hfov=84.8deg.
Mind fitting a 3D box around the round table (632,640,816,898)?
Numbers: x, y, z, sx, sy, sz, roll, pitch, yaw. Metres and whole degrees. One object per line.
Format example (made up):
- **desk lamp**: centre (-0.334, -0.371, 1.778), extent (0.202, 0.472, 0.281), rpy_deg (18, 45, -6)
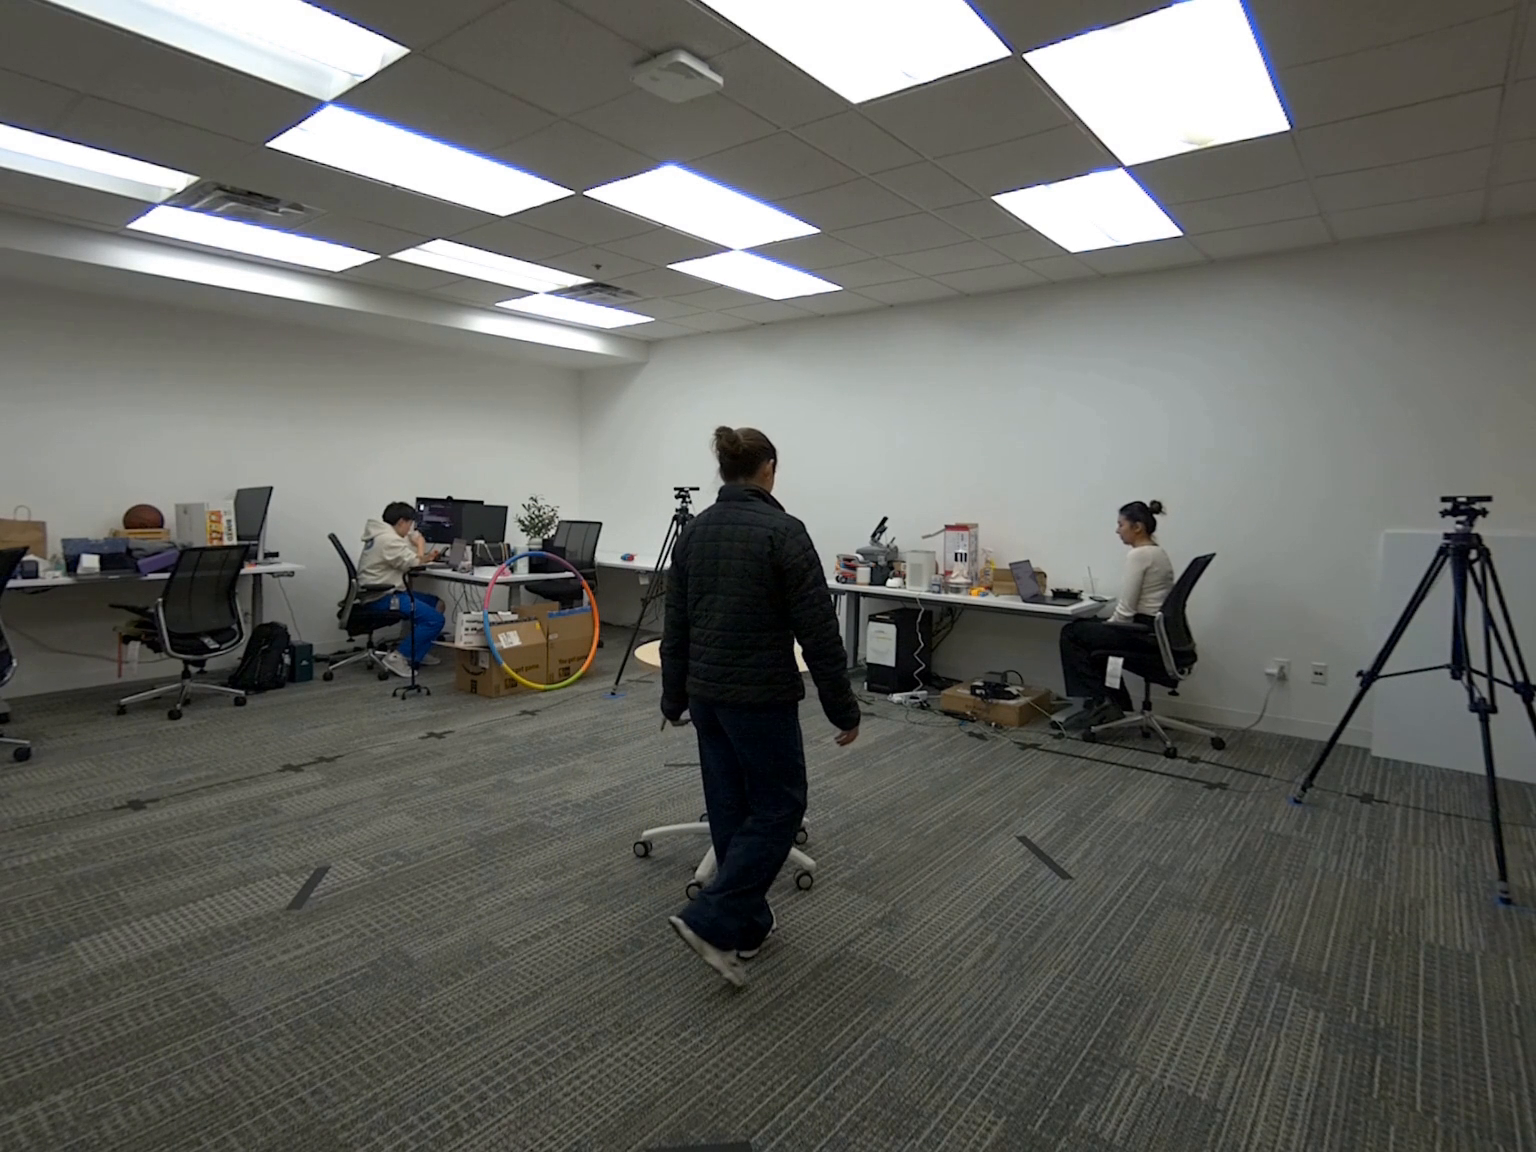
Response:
- **round table**: centre (-0.086, 0.663, 3.169), extent (0.784, 0.784, 0.789), rpy_deg (0, 4, -2)
